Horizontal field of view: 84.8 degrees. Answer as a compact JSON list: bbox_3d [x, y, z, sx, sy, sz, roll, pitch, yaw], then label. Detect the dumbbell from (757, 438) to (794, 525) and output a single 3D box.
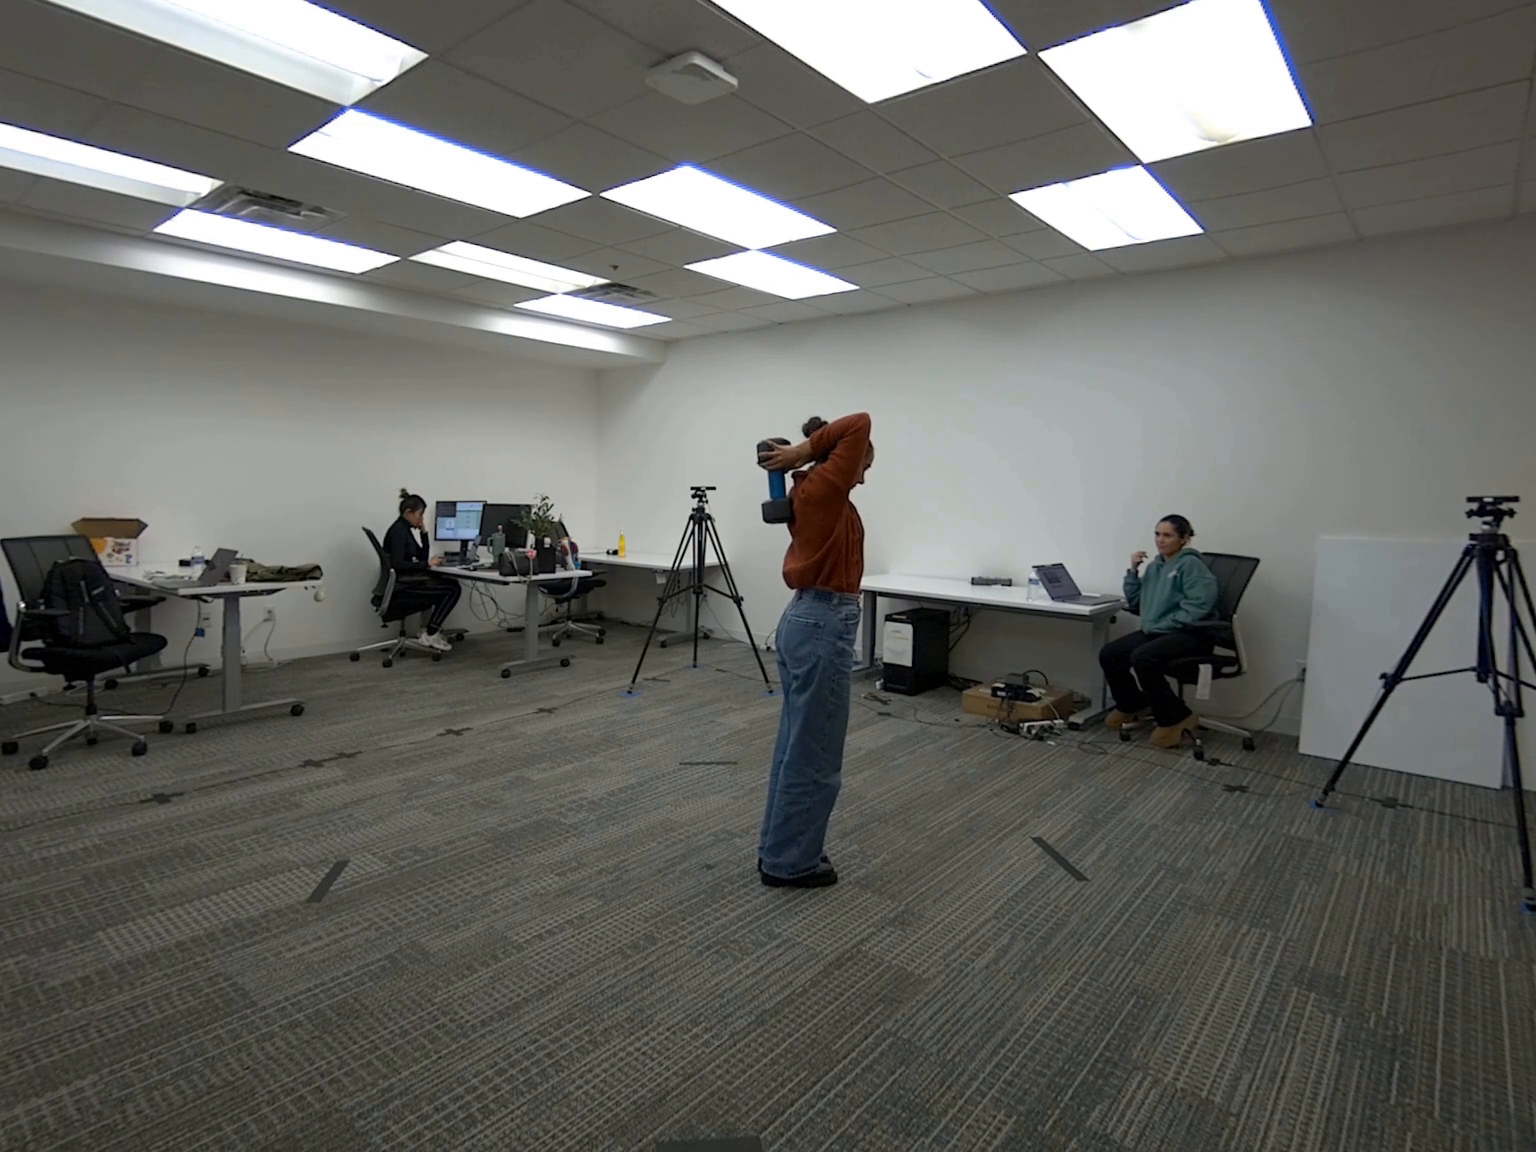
[{"bbox_3d":[0.027,-0.336,2.992,0.122,0.295,0.109,0,-4,-9],"label":"dumbbell"}]
